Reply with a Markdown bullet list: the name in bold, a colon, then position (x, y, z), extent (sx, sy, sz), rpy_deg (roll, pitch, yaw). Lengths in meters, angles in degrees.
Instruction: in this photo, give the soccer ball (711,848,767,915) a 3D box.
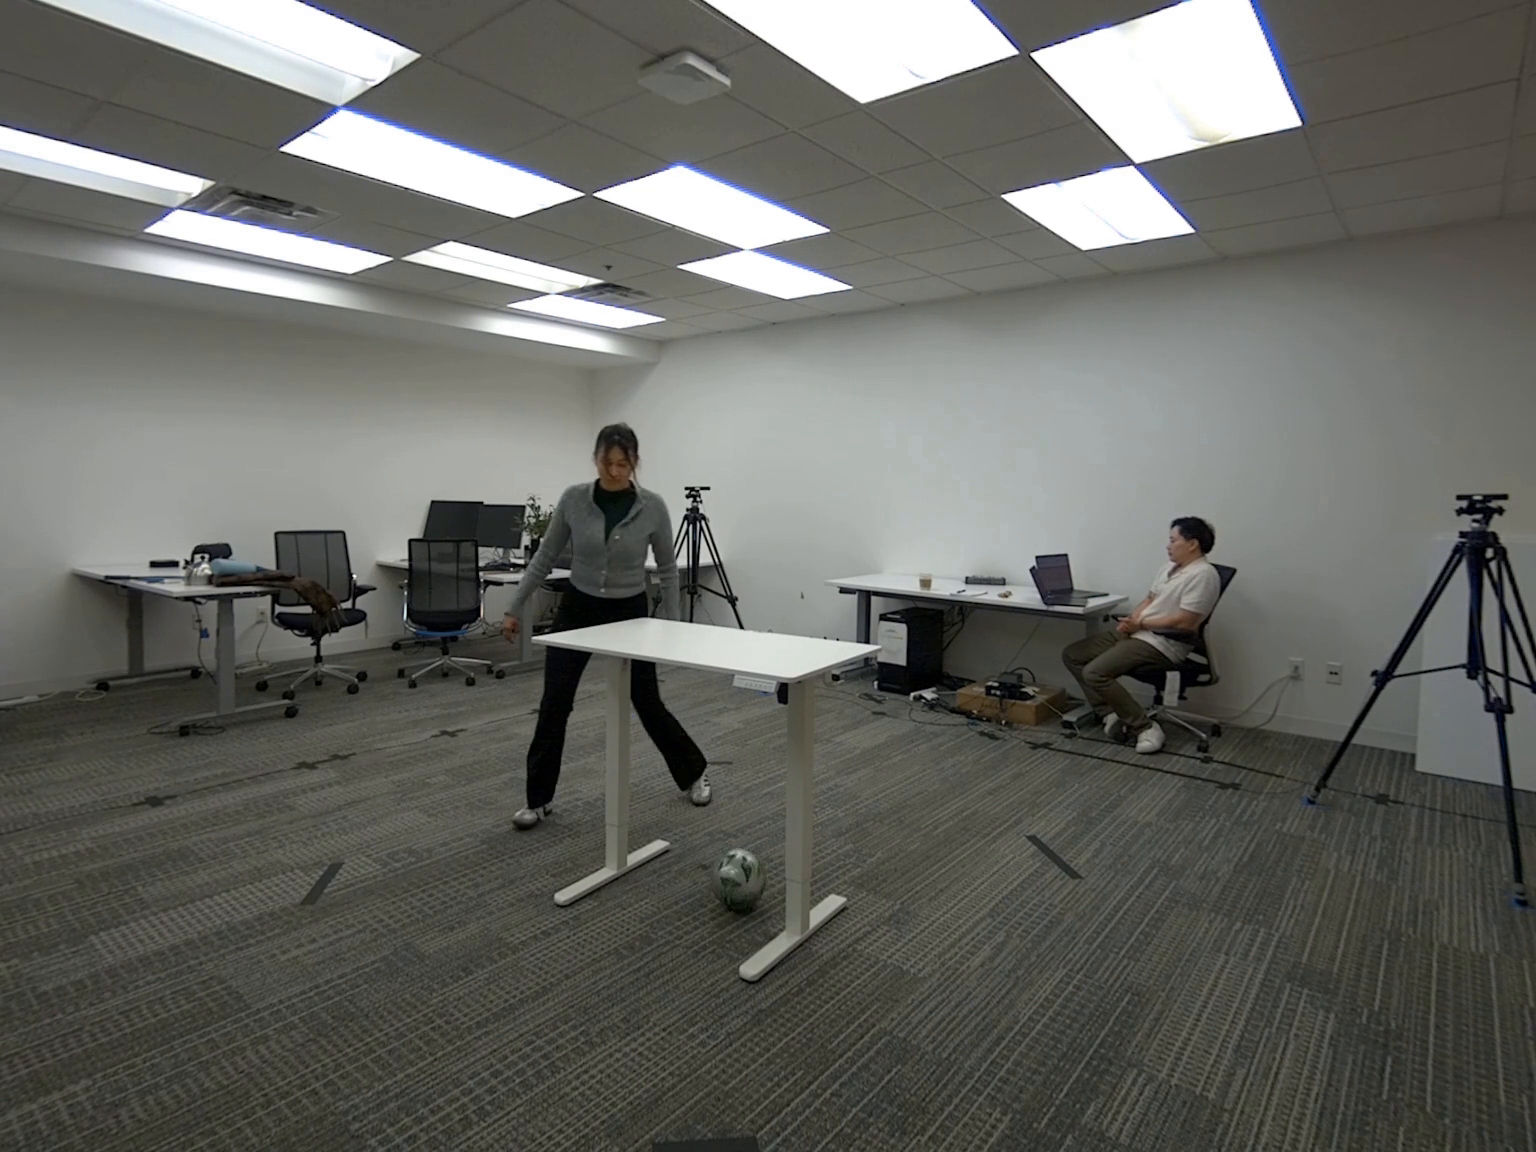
- **soccer ball**: position (-0.103, 1.000, 2.814), extent (0.187, 0.187, 0.188), rpy_deg (0, 4, -2)
